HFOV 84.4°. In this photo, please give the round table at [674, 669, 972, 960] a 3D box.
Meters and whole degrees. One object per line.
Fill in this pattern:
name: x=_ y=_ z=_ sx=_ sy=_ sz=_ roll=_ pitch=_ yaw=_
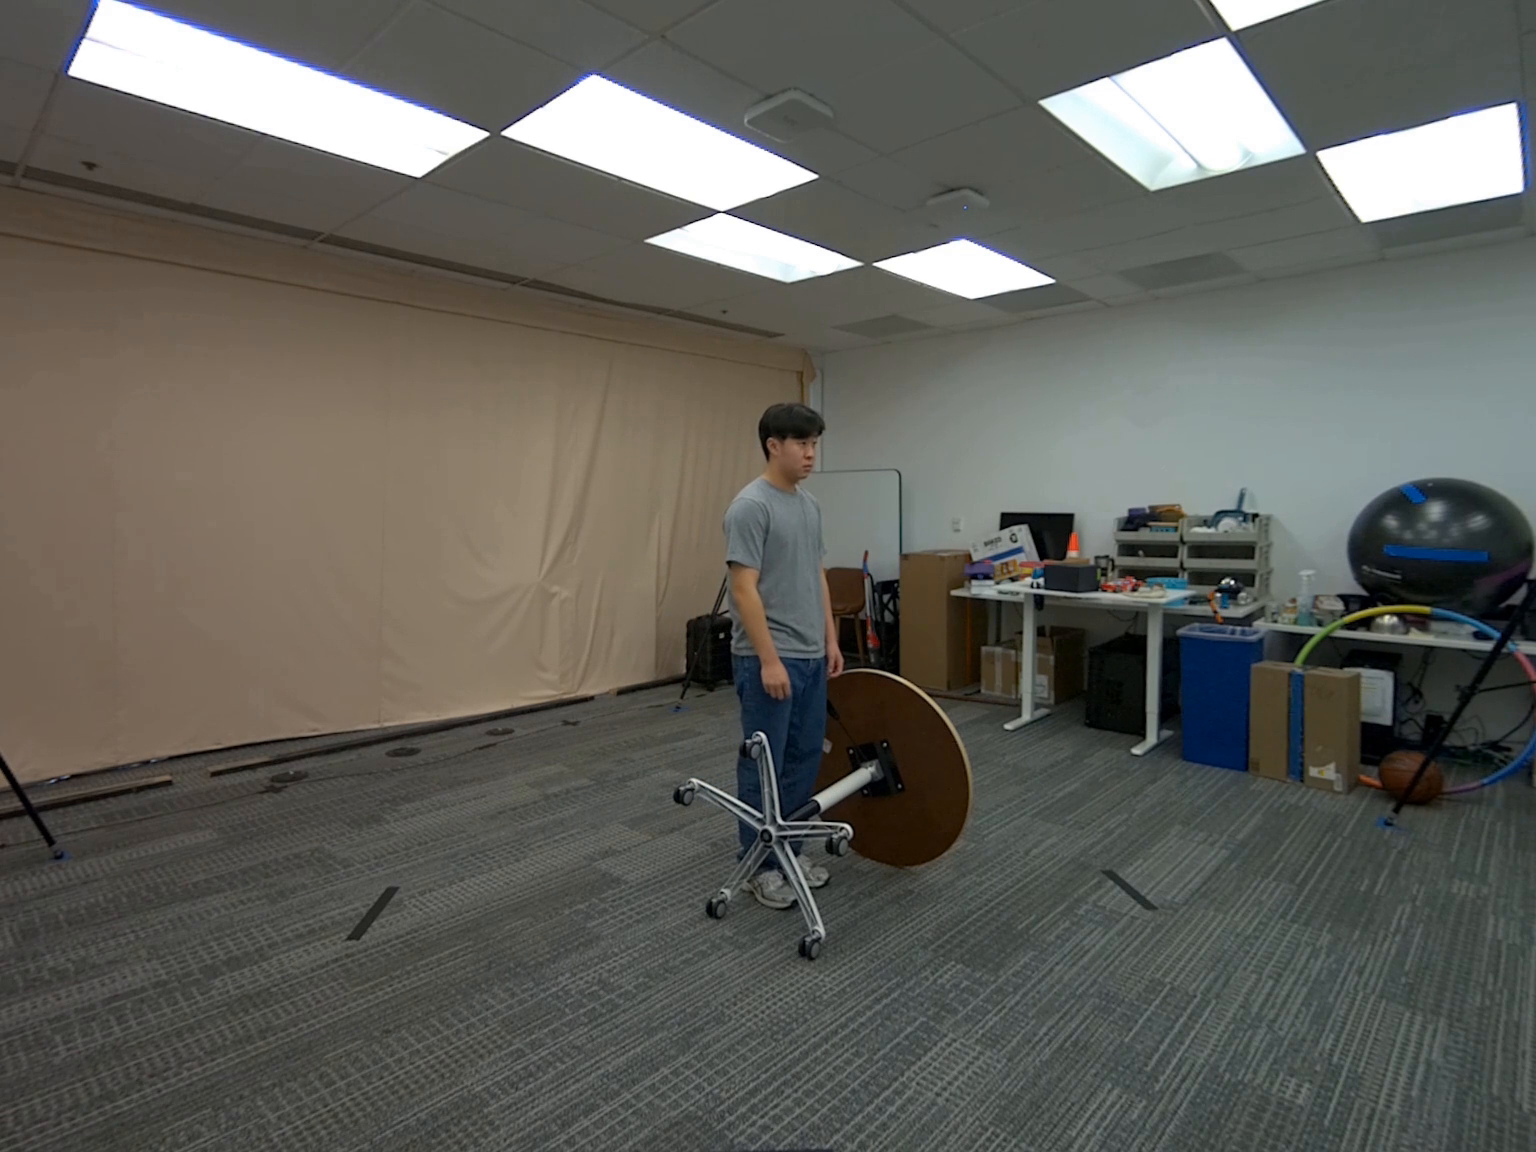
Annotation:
round table: x=0.200 y=0.805 z=2.957 sx=0.789 sy=0.760 sz=0.773 roll=3 pitch=11 yaw=40
